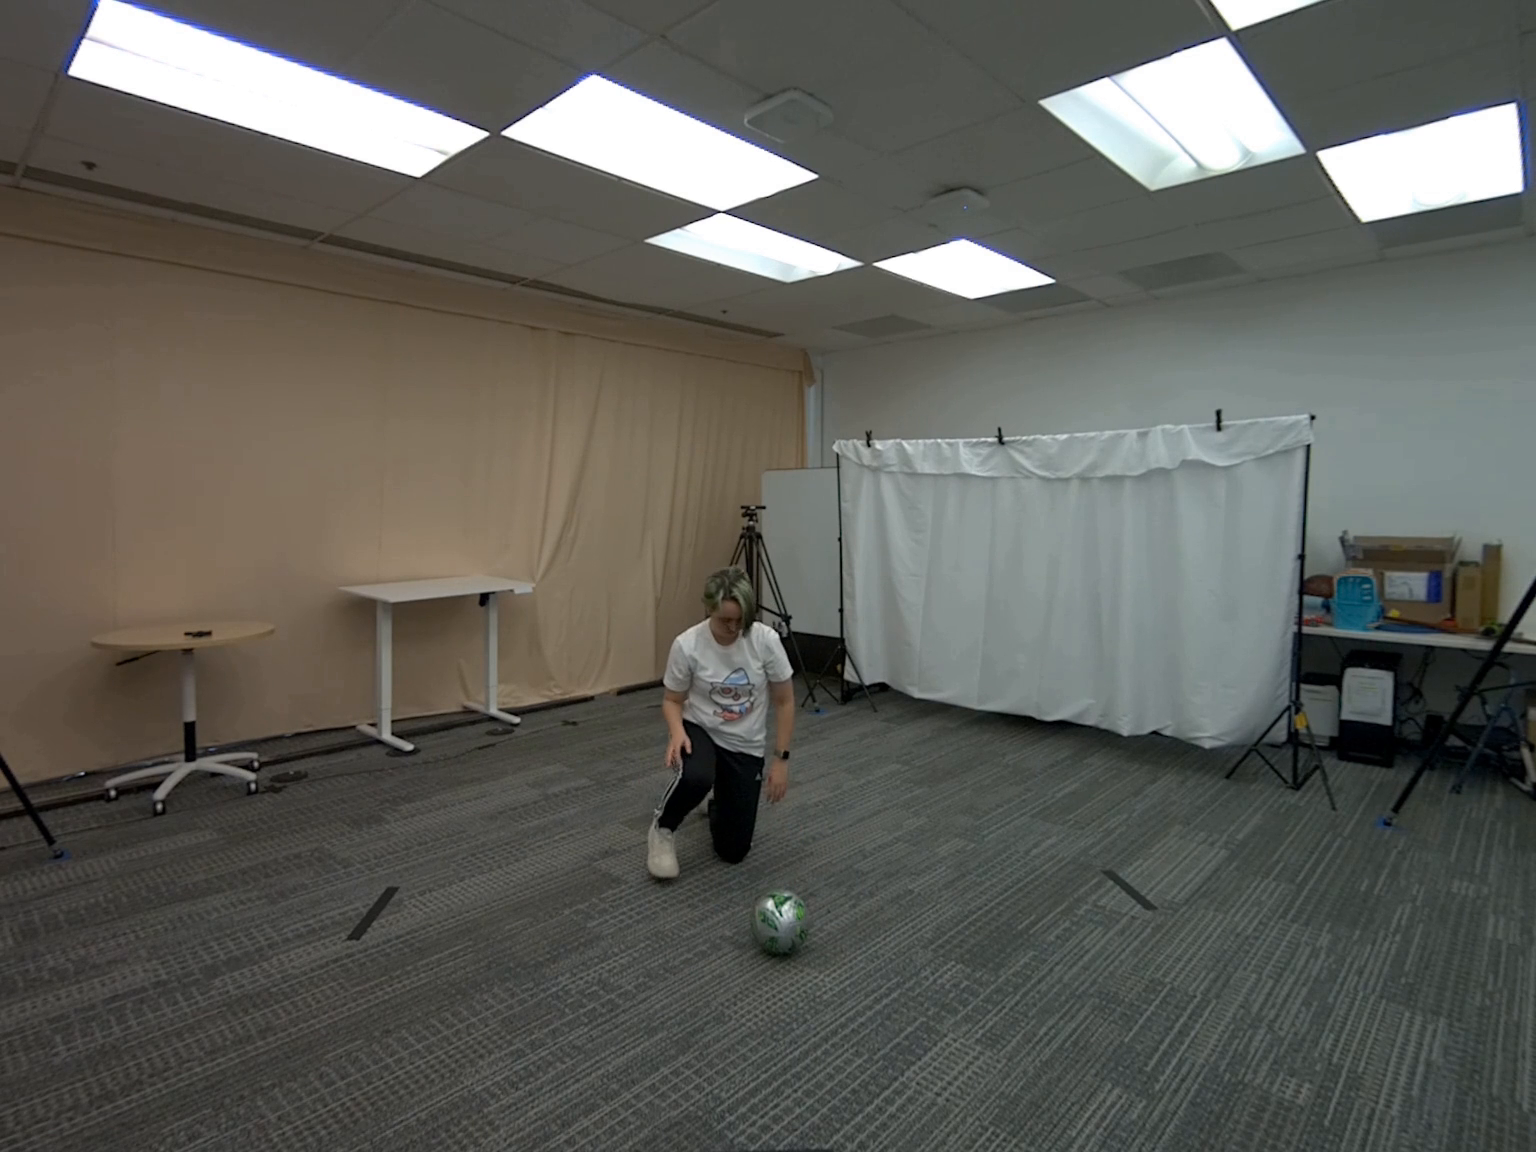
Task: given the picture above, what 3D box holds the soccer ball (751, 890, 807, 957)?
[{"bbox_3d":[0.037,1.077,2.632,0.187,0.187,0.188,0,4,-2],"label":"soccer ball"}]
